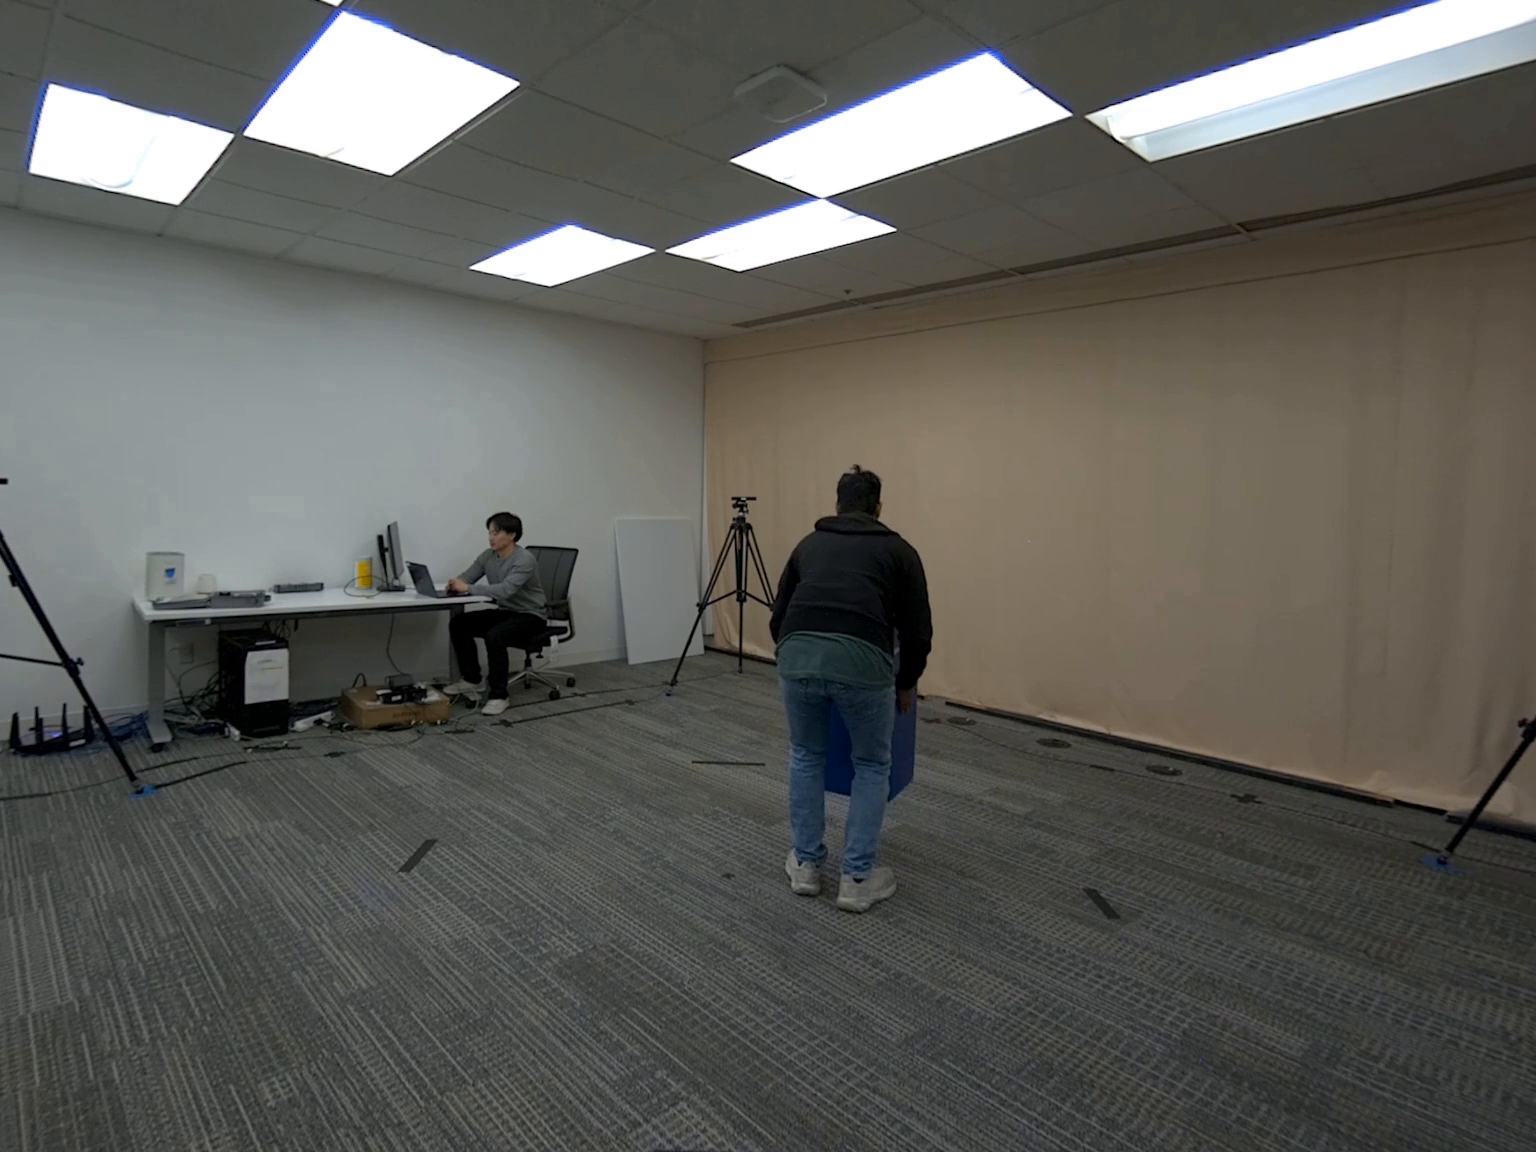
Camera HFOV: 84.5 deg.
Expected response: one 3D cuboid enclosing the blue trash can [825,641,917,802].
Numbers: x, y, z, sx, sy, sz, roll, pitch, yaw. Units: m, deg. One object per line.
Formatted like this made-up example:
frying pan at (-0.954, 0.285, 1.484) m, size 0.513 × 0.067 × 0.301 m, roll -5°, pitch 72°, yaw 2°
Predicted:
blue trash can at (0.386, 0.477, 3.316) m, size 0.386 × 0.711 × 0.367 m, roll 3°, pitch 6°, yaw 29°
